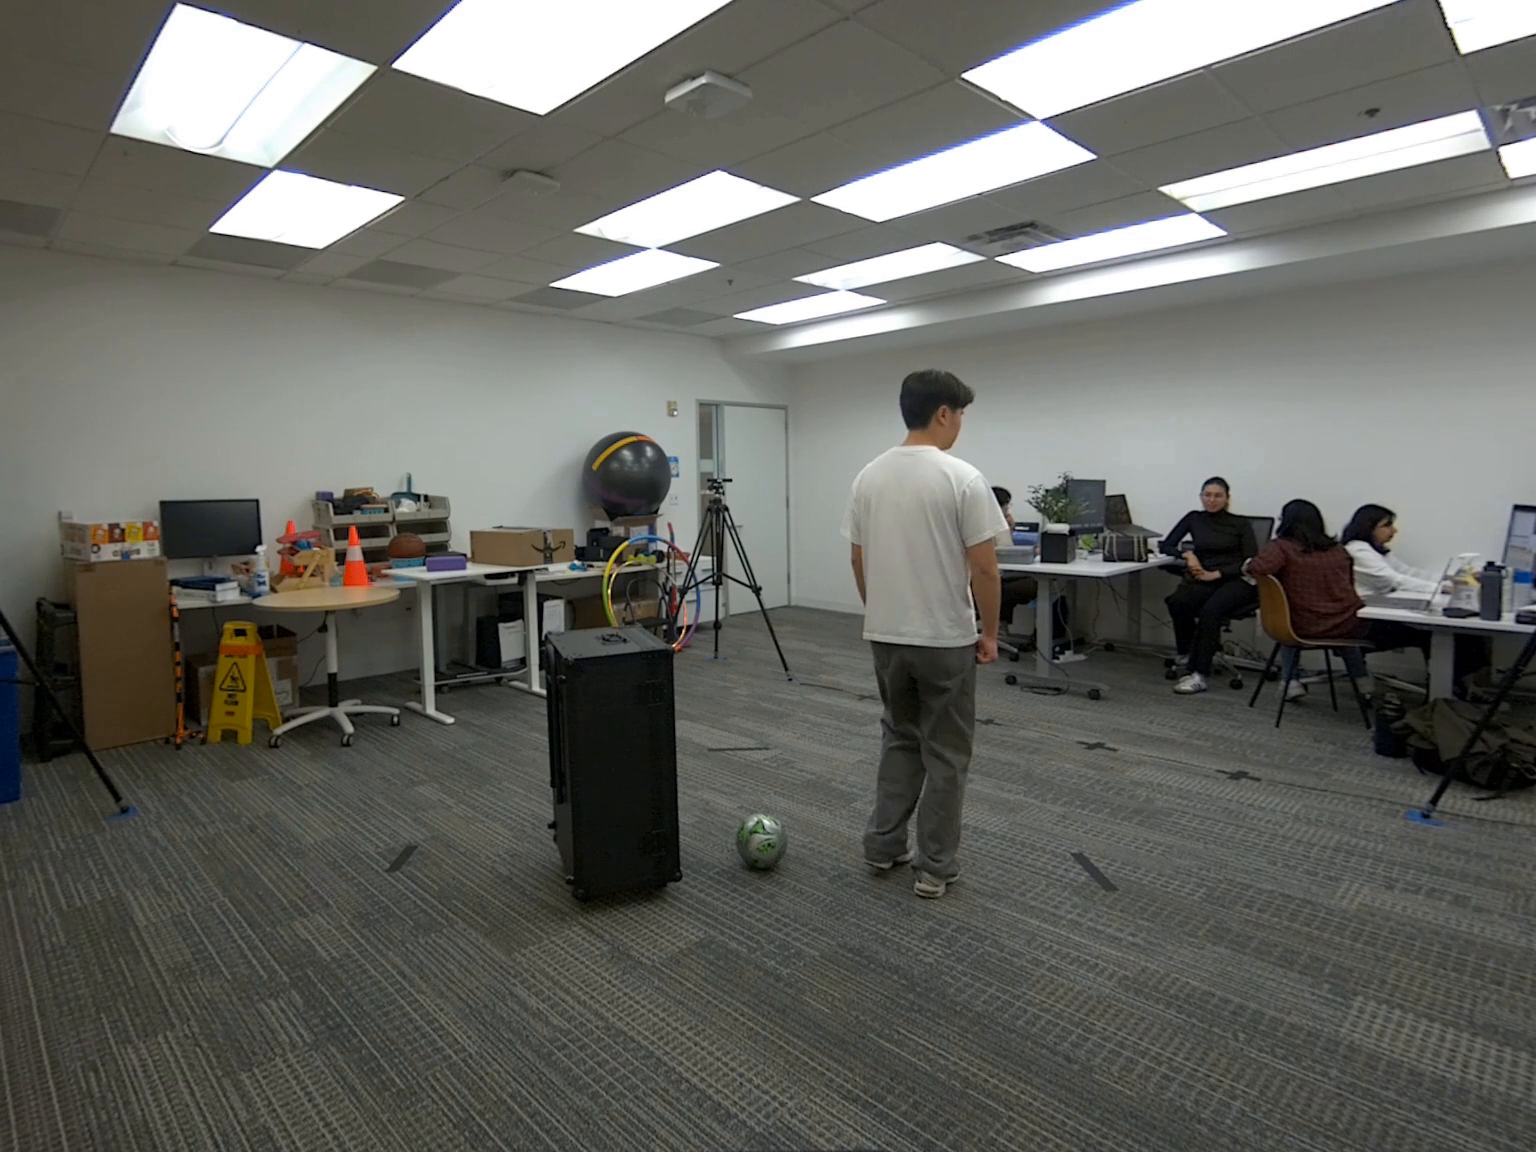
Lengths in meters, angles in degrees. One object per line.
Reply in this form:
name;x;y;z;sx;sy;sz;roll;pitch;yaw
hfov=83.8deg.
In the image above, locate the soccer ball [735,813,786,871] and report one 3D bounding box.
soccer ball;-0.023;0.947;3.079;0.187;0.187;0.188;-1;5;-2
